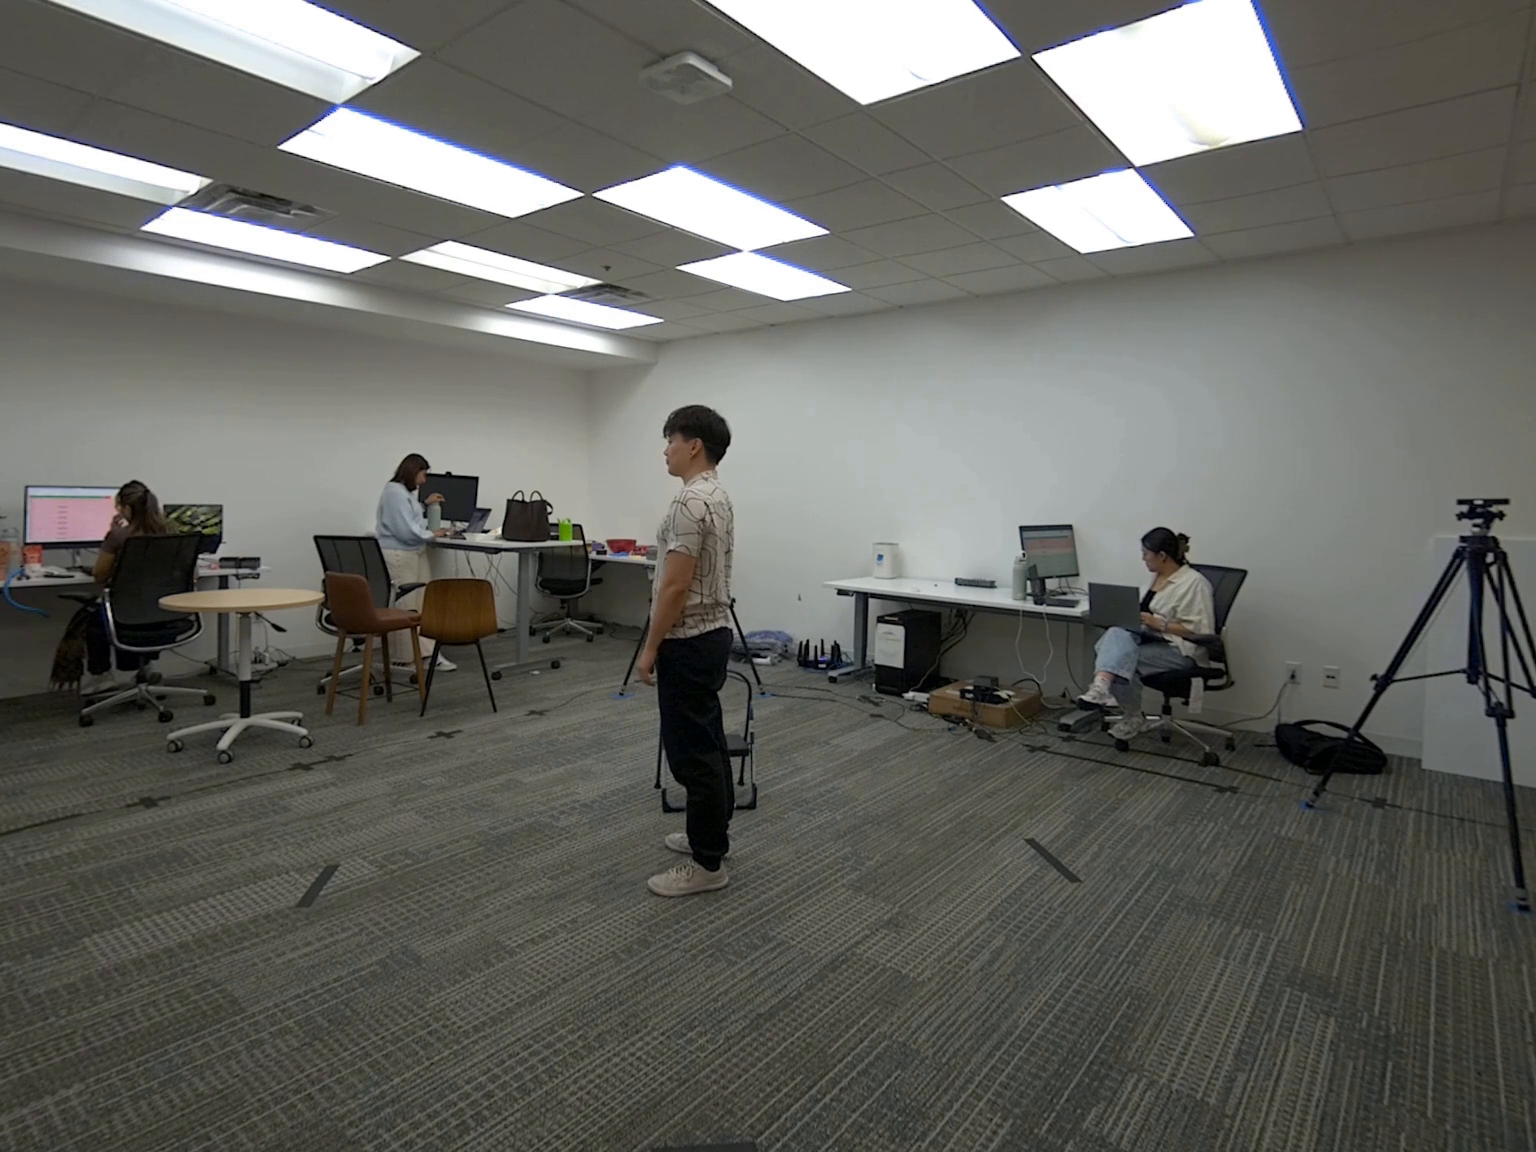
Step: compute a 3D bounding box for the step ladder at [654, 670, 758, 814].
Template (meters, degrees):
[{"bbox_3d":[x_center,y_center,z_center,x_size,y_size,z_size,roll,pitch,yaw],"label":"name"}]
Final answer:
[{"bbox_3d":[-0.291,0.696,3.833,0.426,0.604,0.354,0,3,-11],"label":"step ladder"}]
